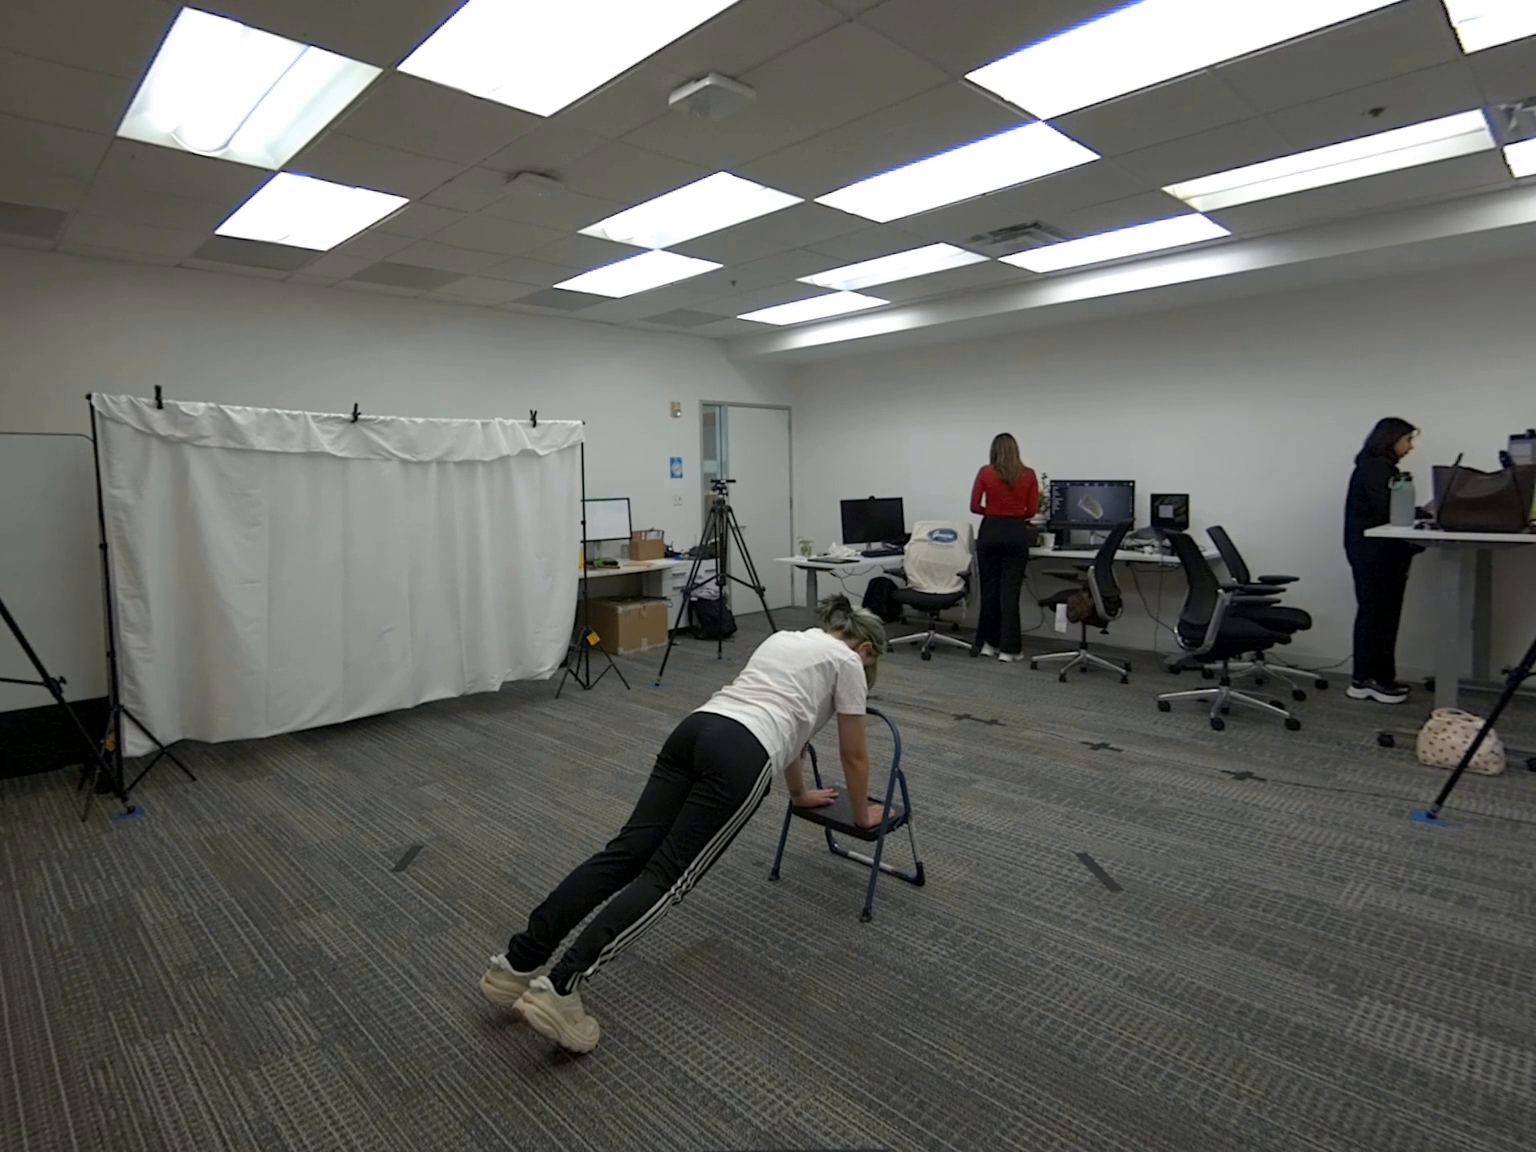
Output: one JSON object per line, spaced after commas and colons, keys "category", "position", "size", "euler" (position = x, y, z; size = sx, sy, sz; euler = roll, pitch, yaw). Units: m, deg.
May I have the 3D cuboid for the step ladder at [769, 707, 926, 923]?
{"category": "step ladder", "position": [0.272, 0.757, 2.939], "size": [0.444, 0.604, 0.340], "euler": [3, 6, 45]}
